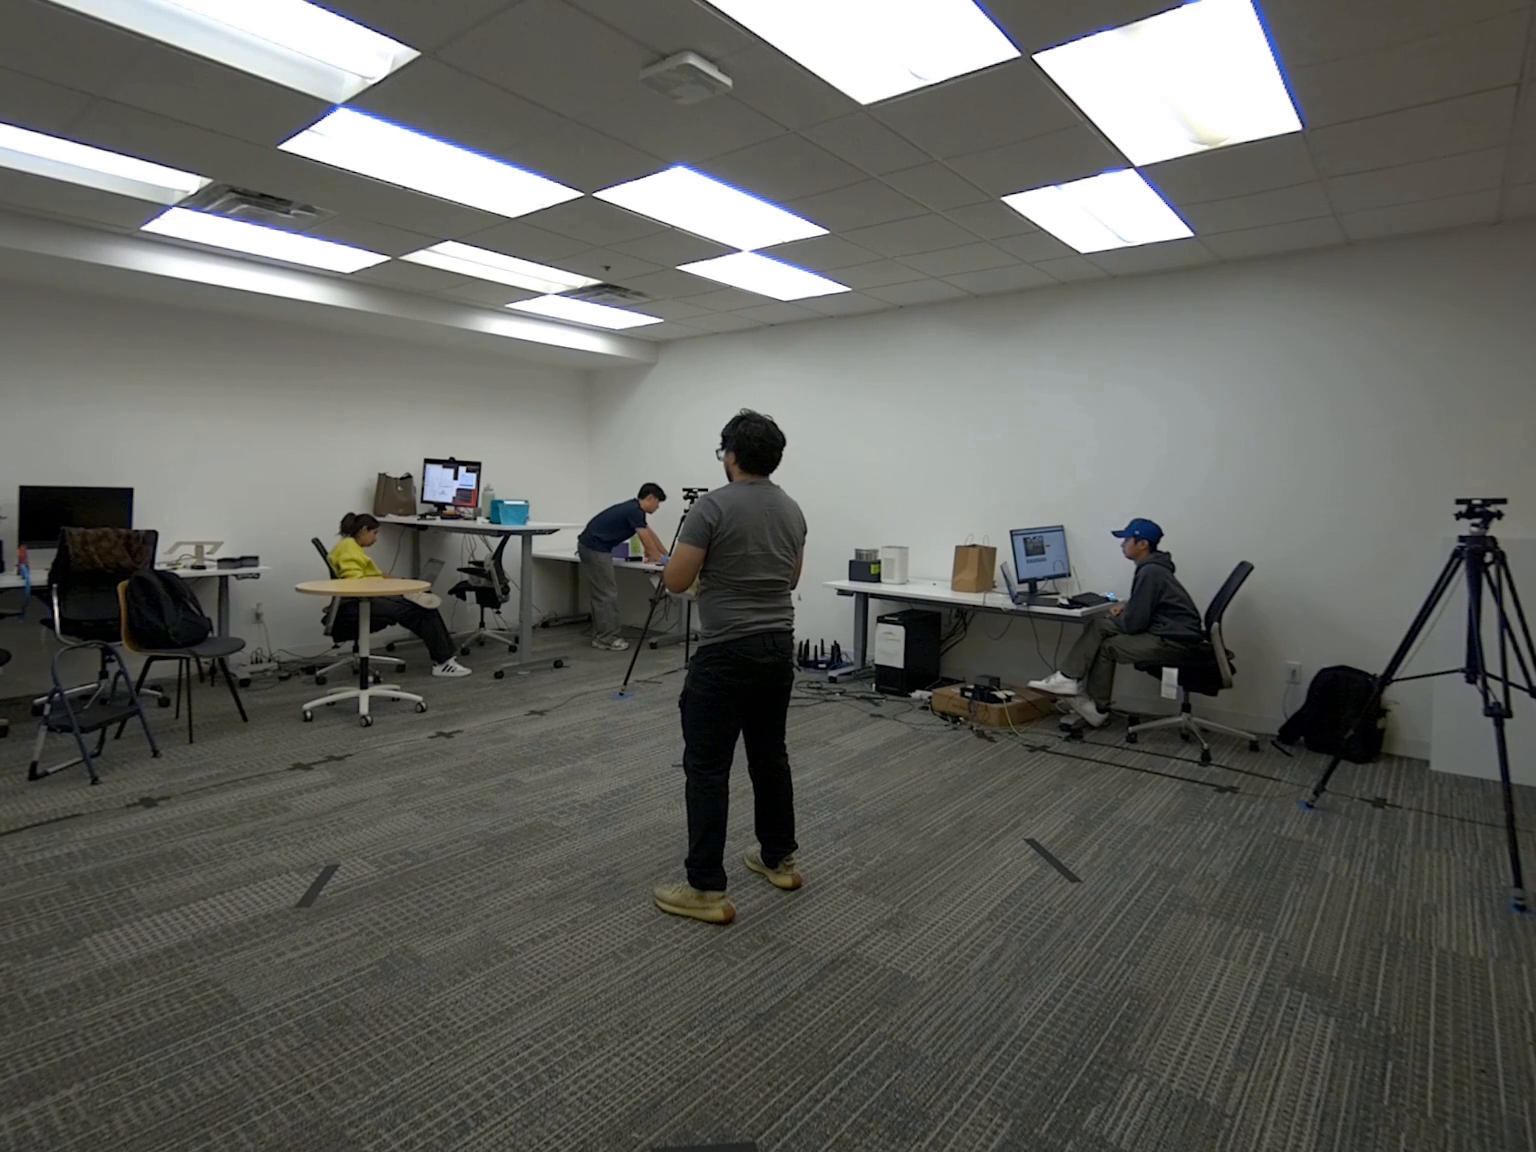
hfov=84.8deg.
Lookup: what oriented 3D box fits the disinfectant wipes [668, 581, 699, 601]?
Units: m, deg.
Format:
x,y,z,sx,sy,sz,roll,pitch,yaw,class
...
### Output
x,y,z,sx,sy,sz,roll,pitch,yaw,class
-0.308,-0.036,3.162,0.118,0.220,0.116,8,-14,0,disinfectant wipes
